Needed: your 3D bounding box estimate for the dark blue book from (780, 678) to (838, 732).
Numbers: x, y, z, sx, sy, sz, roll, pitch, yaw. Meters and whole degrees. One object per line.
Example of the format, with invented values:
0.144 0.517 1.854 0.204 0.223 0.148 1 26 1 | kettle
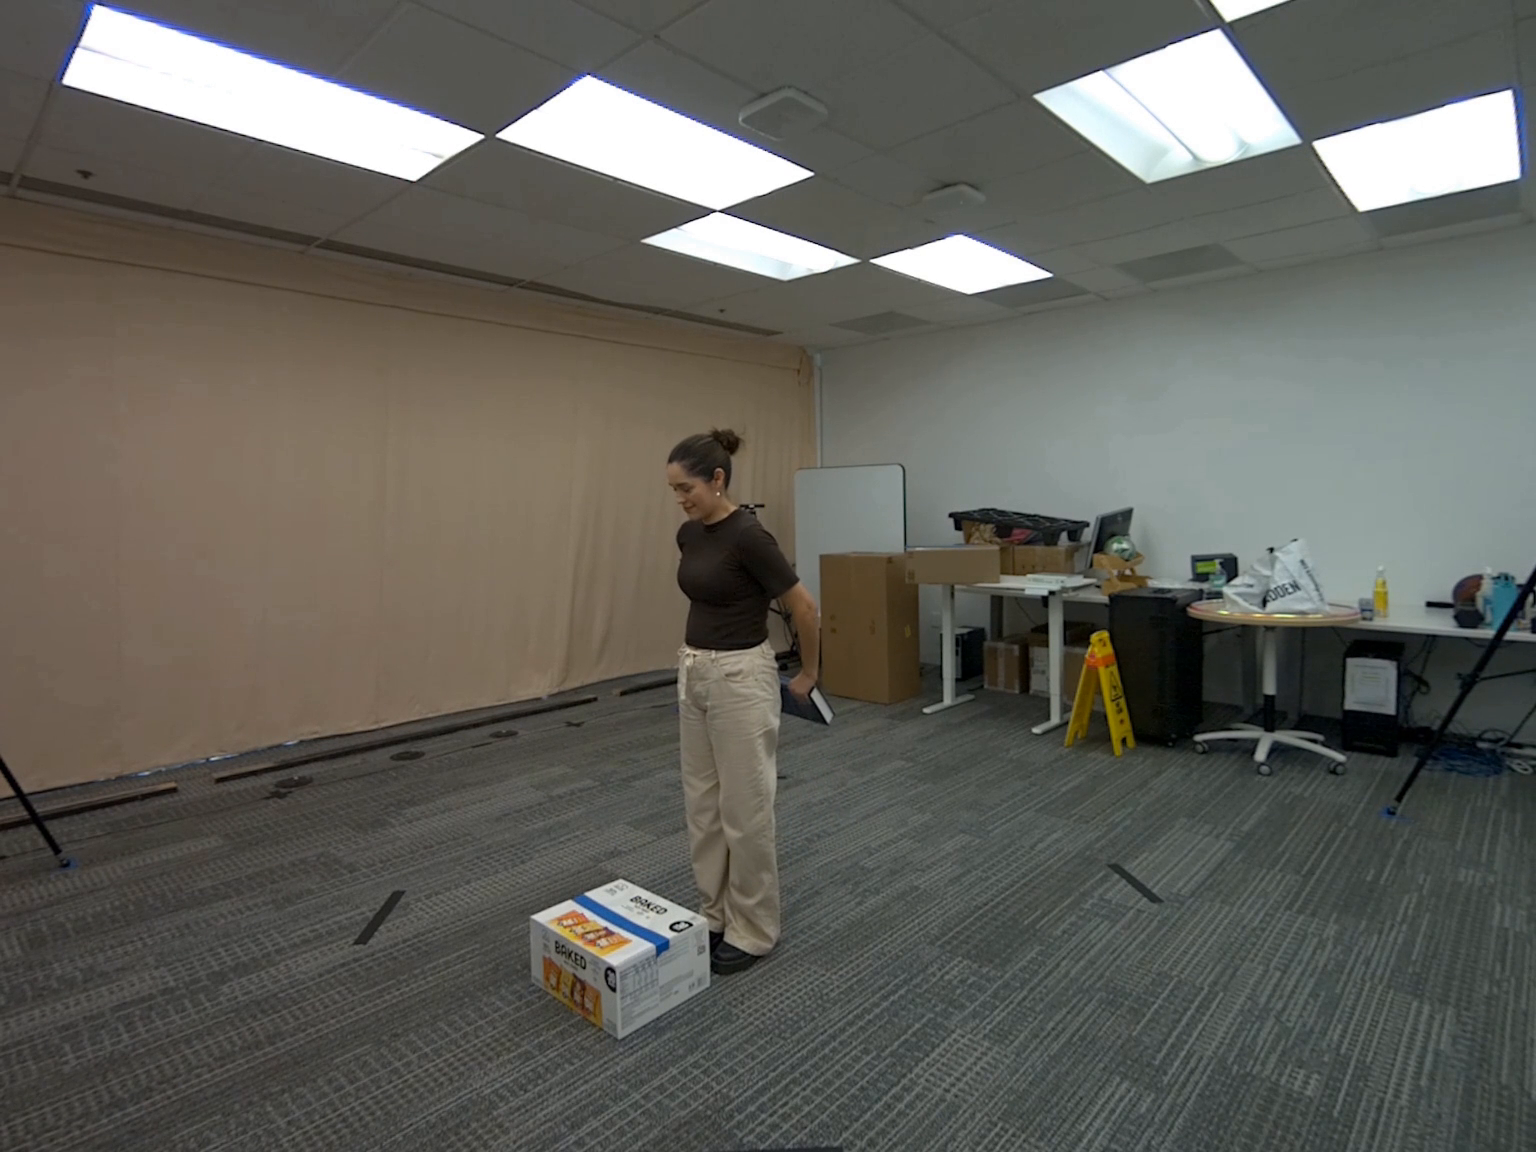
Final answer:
0.081 0.401 2.712 0.253 0.158 0.045 9 49 41 | dark blue book
